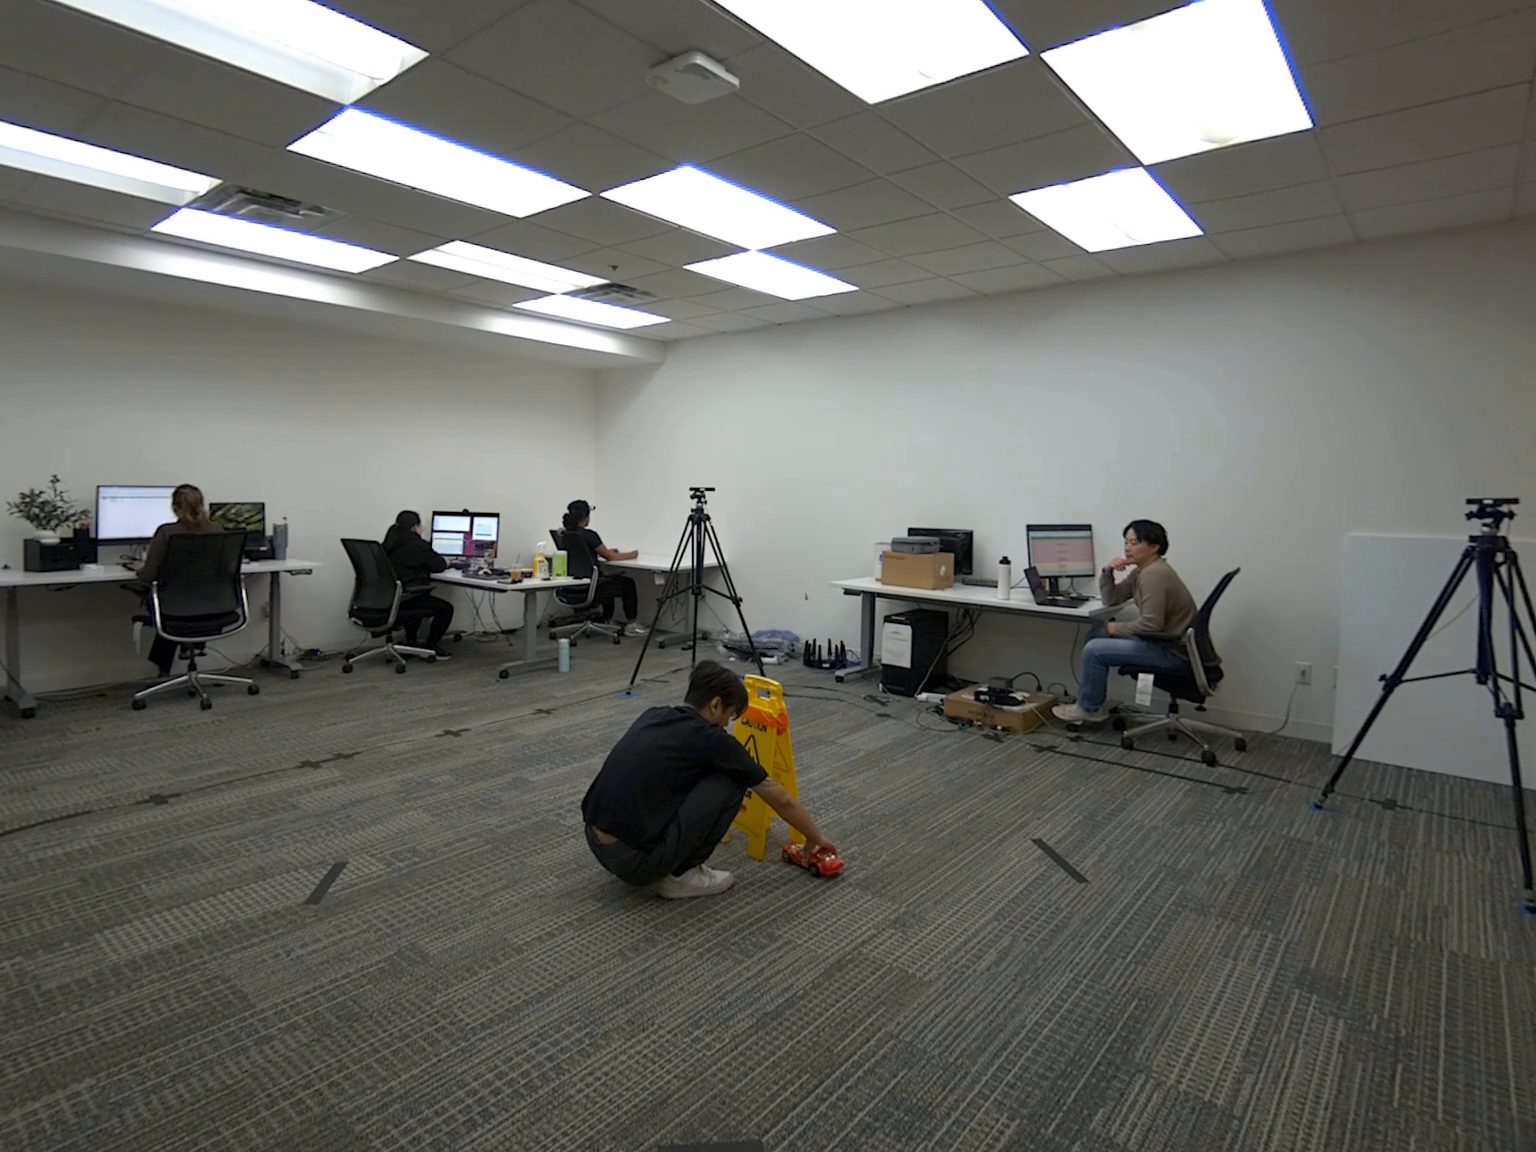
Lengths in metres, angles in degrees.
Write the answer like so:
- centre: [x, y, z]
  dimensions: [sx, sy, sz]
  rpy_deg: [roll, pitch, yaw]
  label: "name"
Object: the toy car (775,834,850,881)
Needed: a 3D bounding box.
- centre: [0.161, 1.040, 3.122]
  dimensions: [0.126, 0.083, 0.261]
  rpy_deg: [-3, -1, -38]
  label: "toy car"
